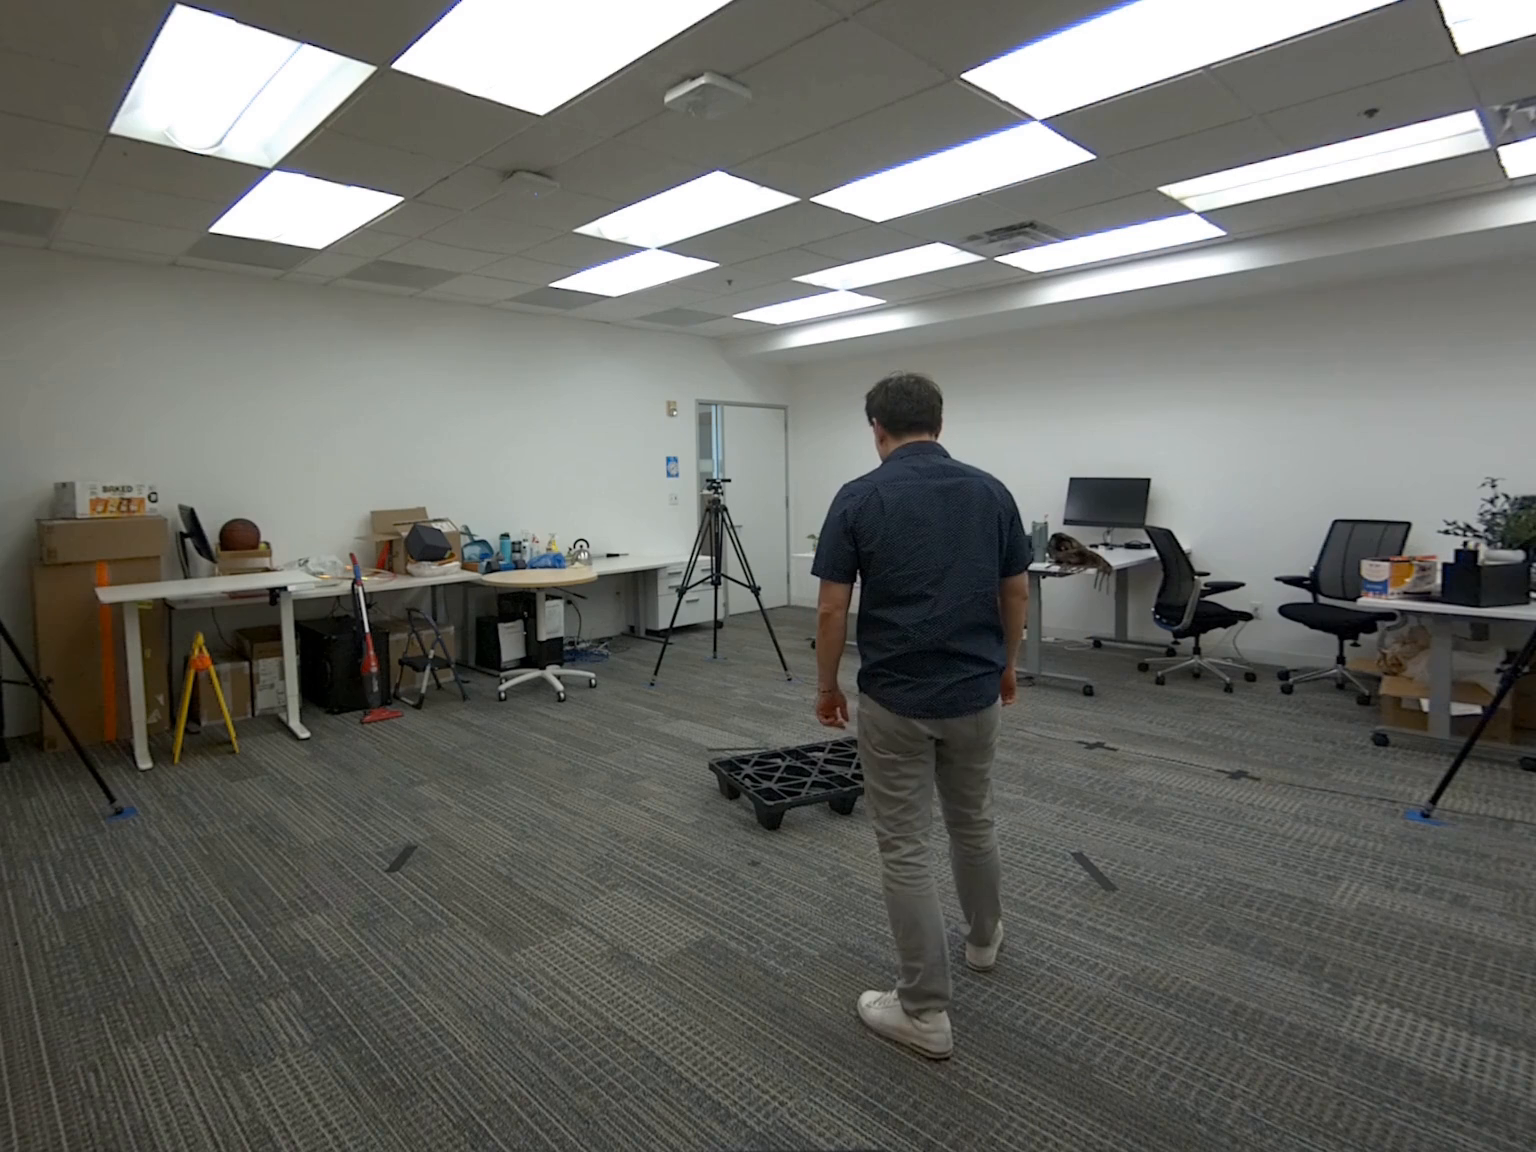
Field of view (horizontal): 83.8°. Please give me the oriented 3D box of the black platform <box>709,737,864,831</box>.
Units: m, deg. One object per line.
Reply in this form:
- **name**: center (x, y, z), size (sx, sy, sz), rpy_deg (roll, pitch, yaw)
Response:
- **black platform**: center (0.213, 0.901, 3.752), size (0.789, 0.143, 0.620), rpy_deg (-4, 6, -26)
